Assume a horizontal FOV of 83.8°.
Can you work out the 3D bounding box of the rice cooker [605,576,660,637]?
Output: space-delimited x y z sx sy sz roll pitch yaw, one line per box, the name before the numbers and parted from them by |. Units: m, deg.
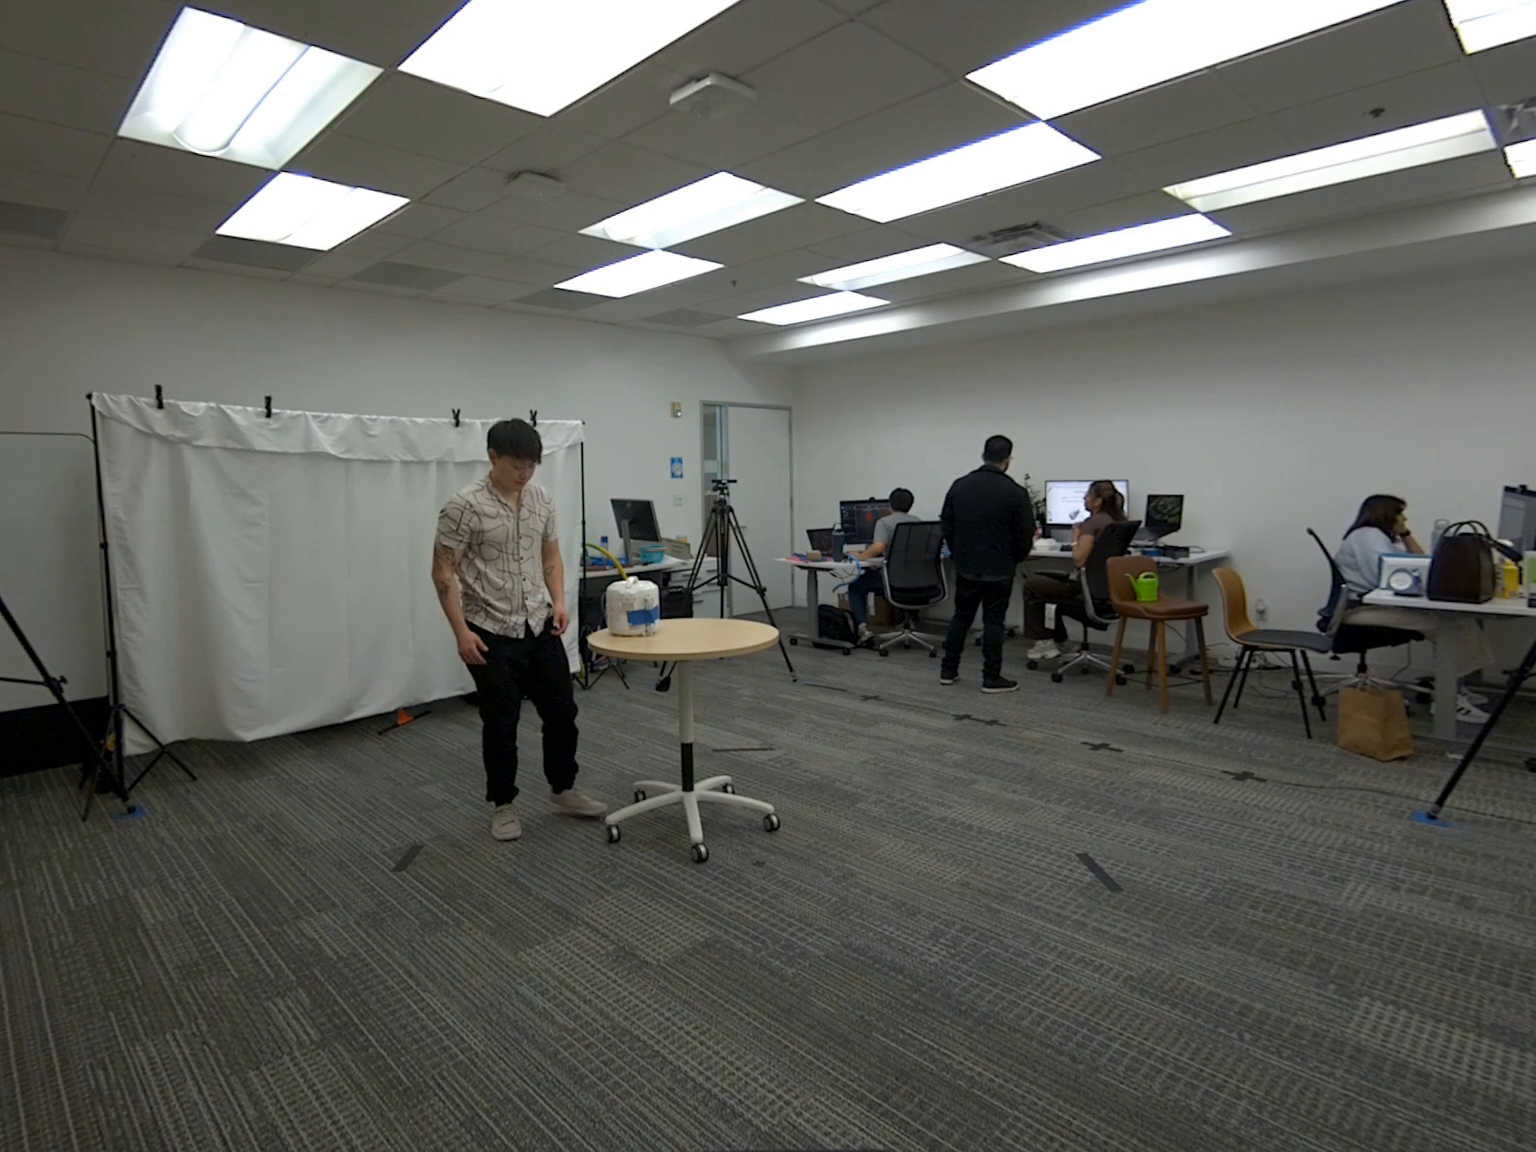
rice cooker | -0.555 0.117 3.485 0.219 0.232 0.220 0 5 5
